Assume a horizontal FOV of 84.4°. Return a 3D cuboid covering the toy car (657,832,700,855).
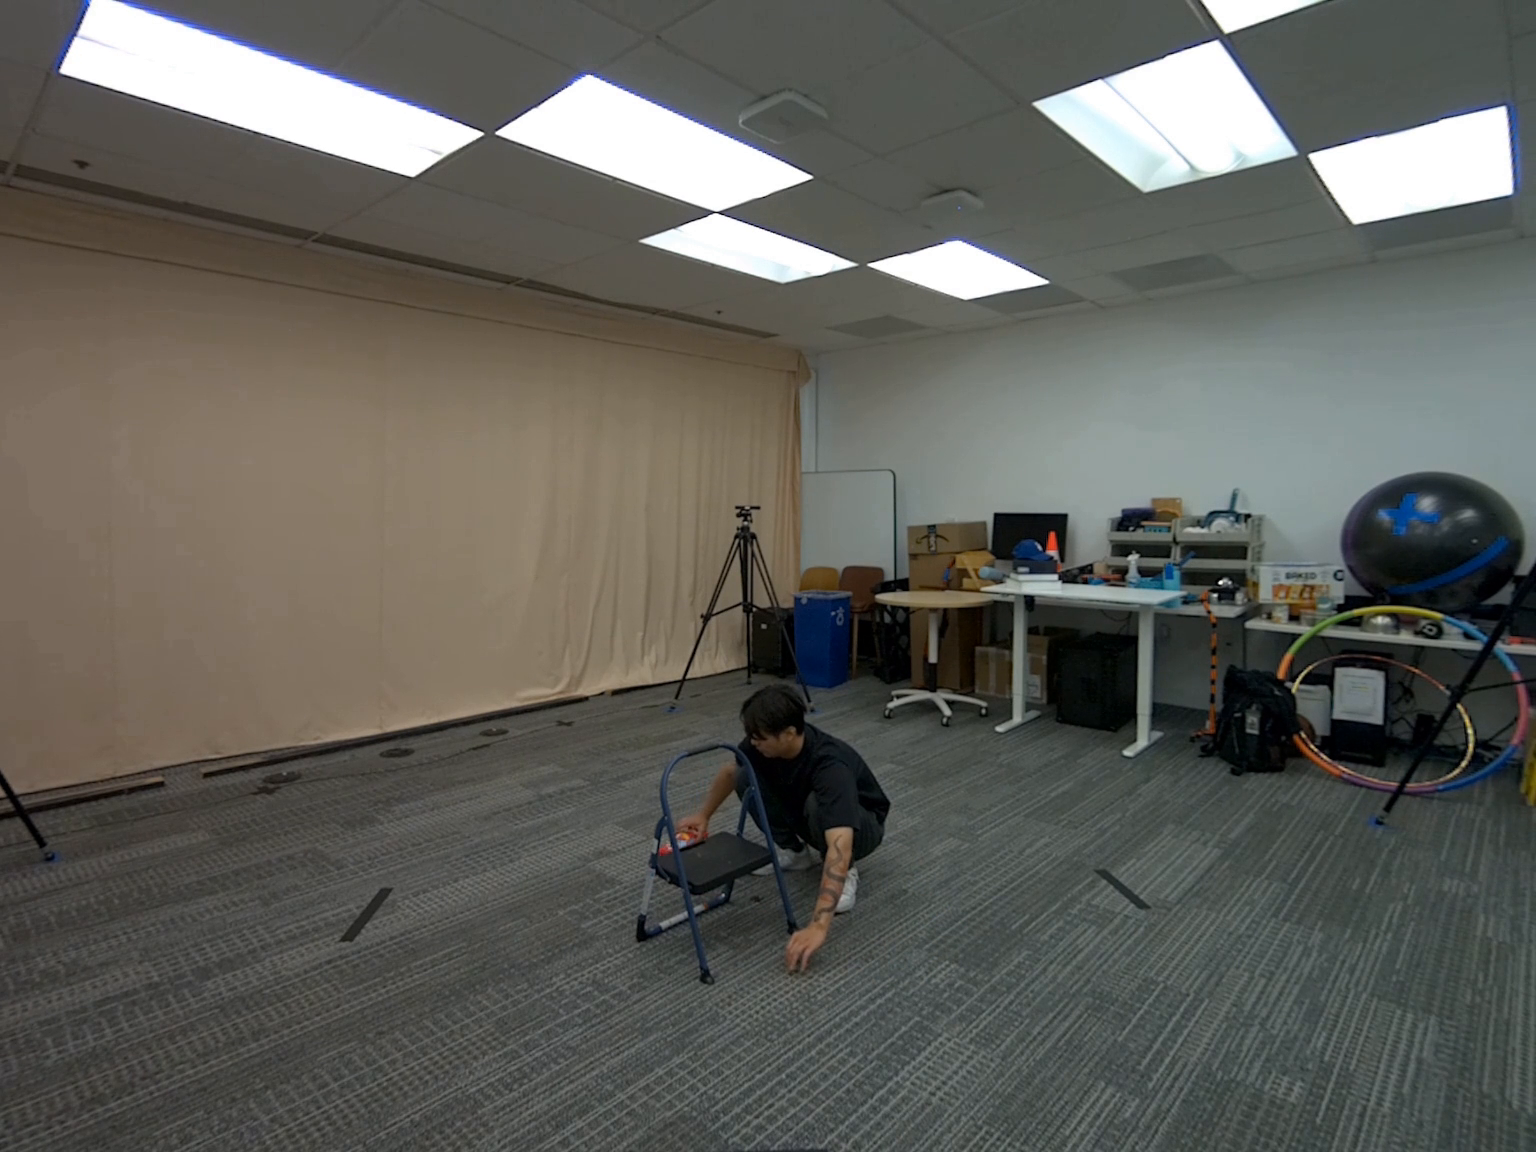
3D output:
[{"bbox_3d":[-0.330,1.086,3.391,0.134,0.082,0.250,2,16,30],"label":"toy car"}]
